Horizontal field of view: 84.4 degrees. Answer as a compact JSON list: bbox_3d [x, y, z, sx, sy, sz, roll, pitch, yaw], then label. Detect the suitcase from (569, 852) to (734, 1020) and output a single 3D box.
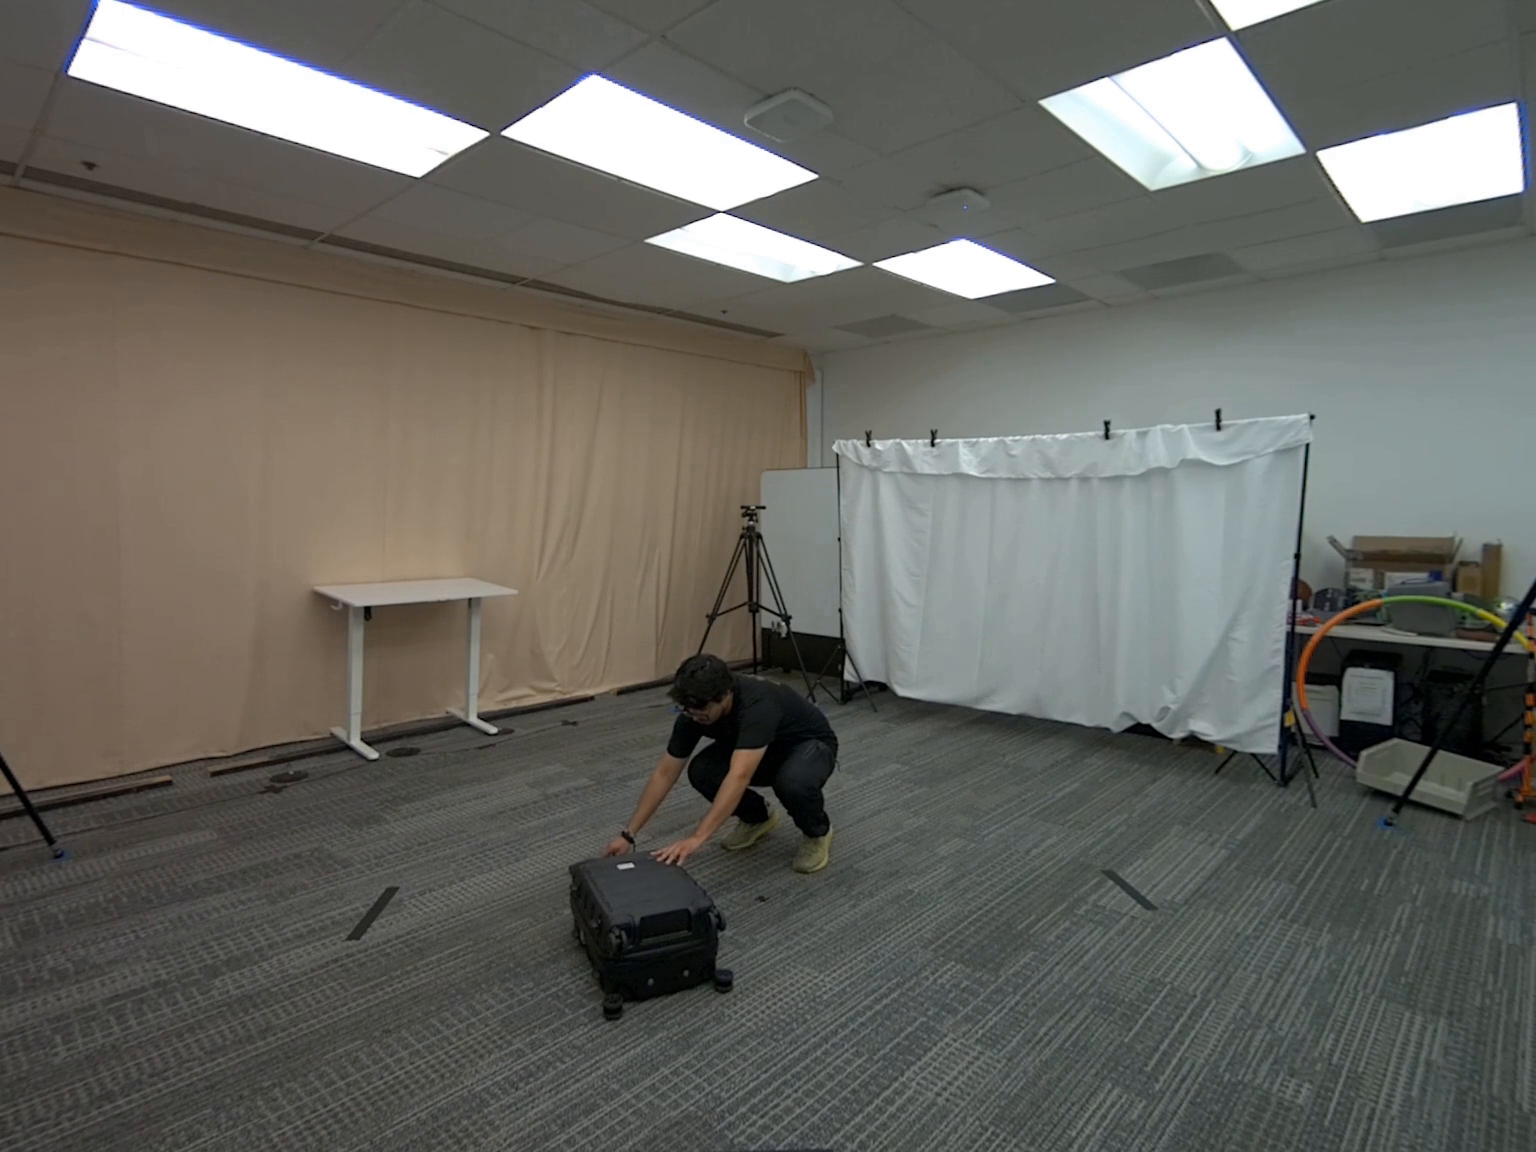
[{"bbox_3d":[-0.474,1.035,2.780,0.375,0.256,1.005,-3,7,-25],"label":"suitcase"}]
